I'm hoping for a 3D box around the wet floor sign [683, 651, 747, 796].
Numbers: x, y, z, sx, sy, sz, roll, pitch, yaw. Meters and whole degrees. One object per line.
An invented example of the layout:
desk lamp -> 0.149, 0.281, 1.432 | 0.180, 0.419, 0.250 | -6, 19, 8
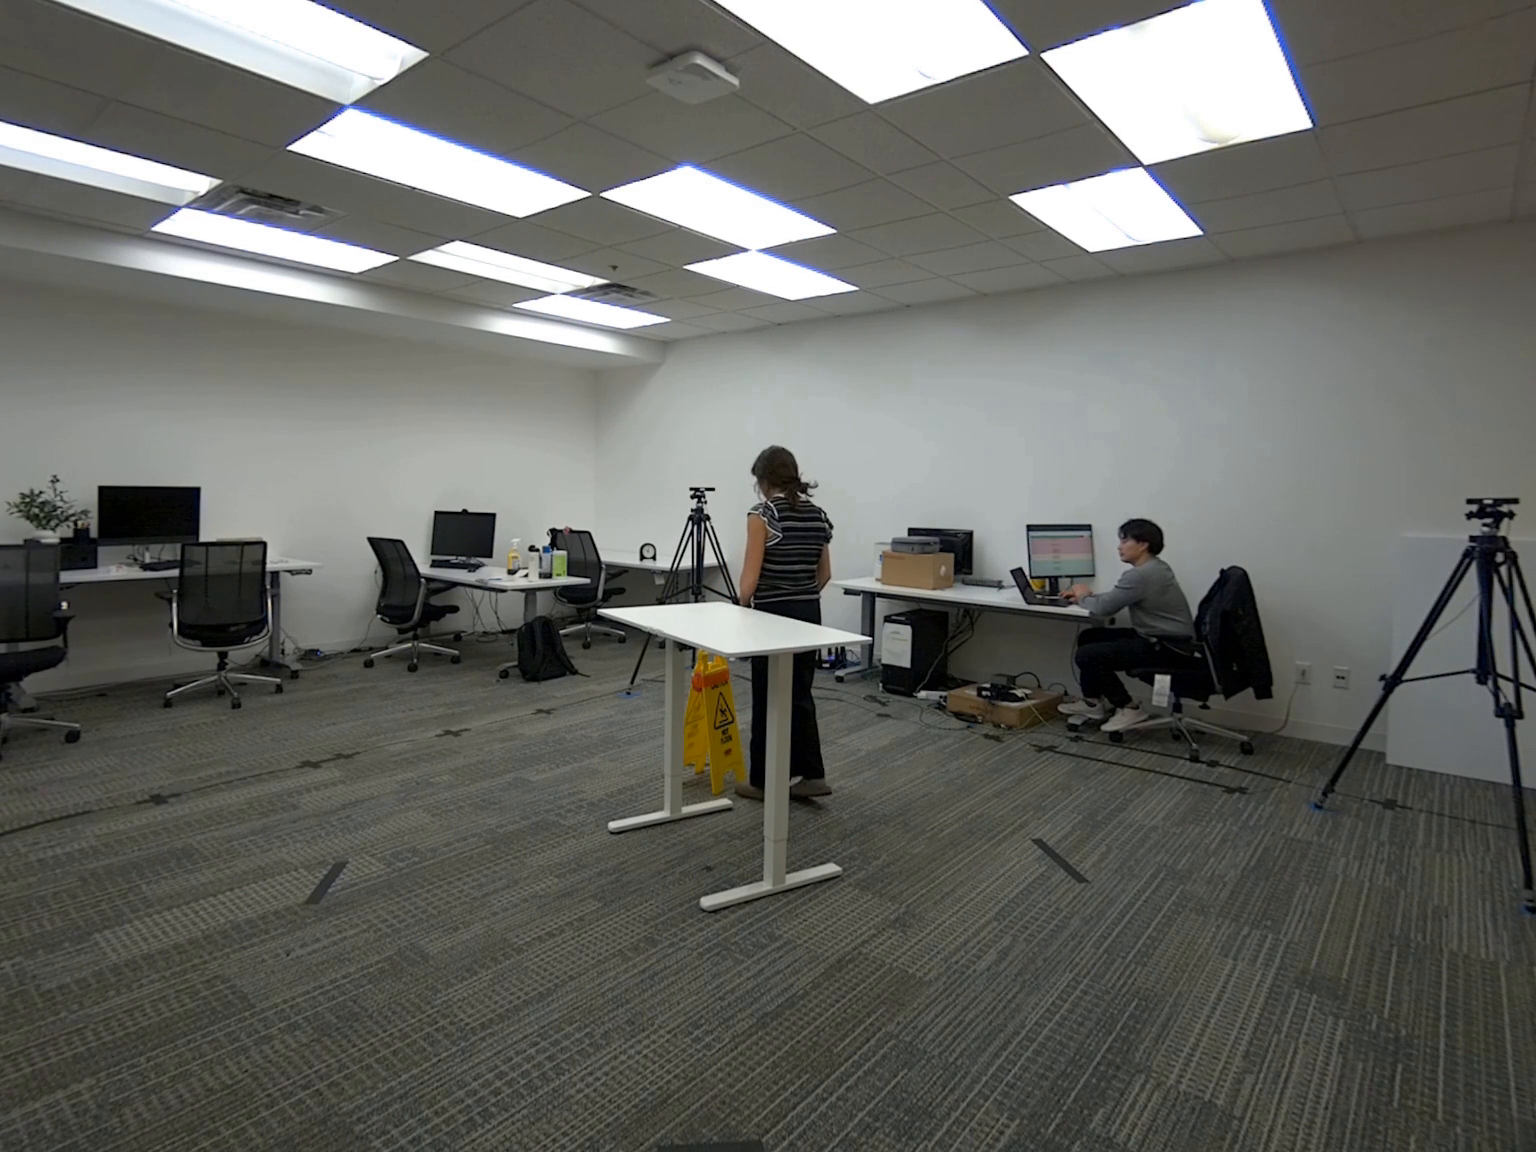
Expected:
wet floor sign -> -0.286, 0.652, 4.025 | 0.298, 0.645, 0.275 | 2, 3, 29
